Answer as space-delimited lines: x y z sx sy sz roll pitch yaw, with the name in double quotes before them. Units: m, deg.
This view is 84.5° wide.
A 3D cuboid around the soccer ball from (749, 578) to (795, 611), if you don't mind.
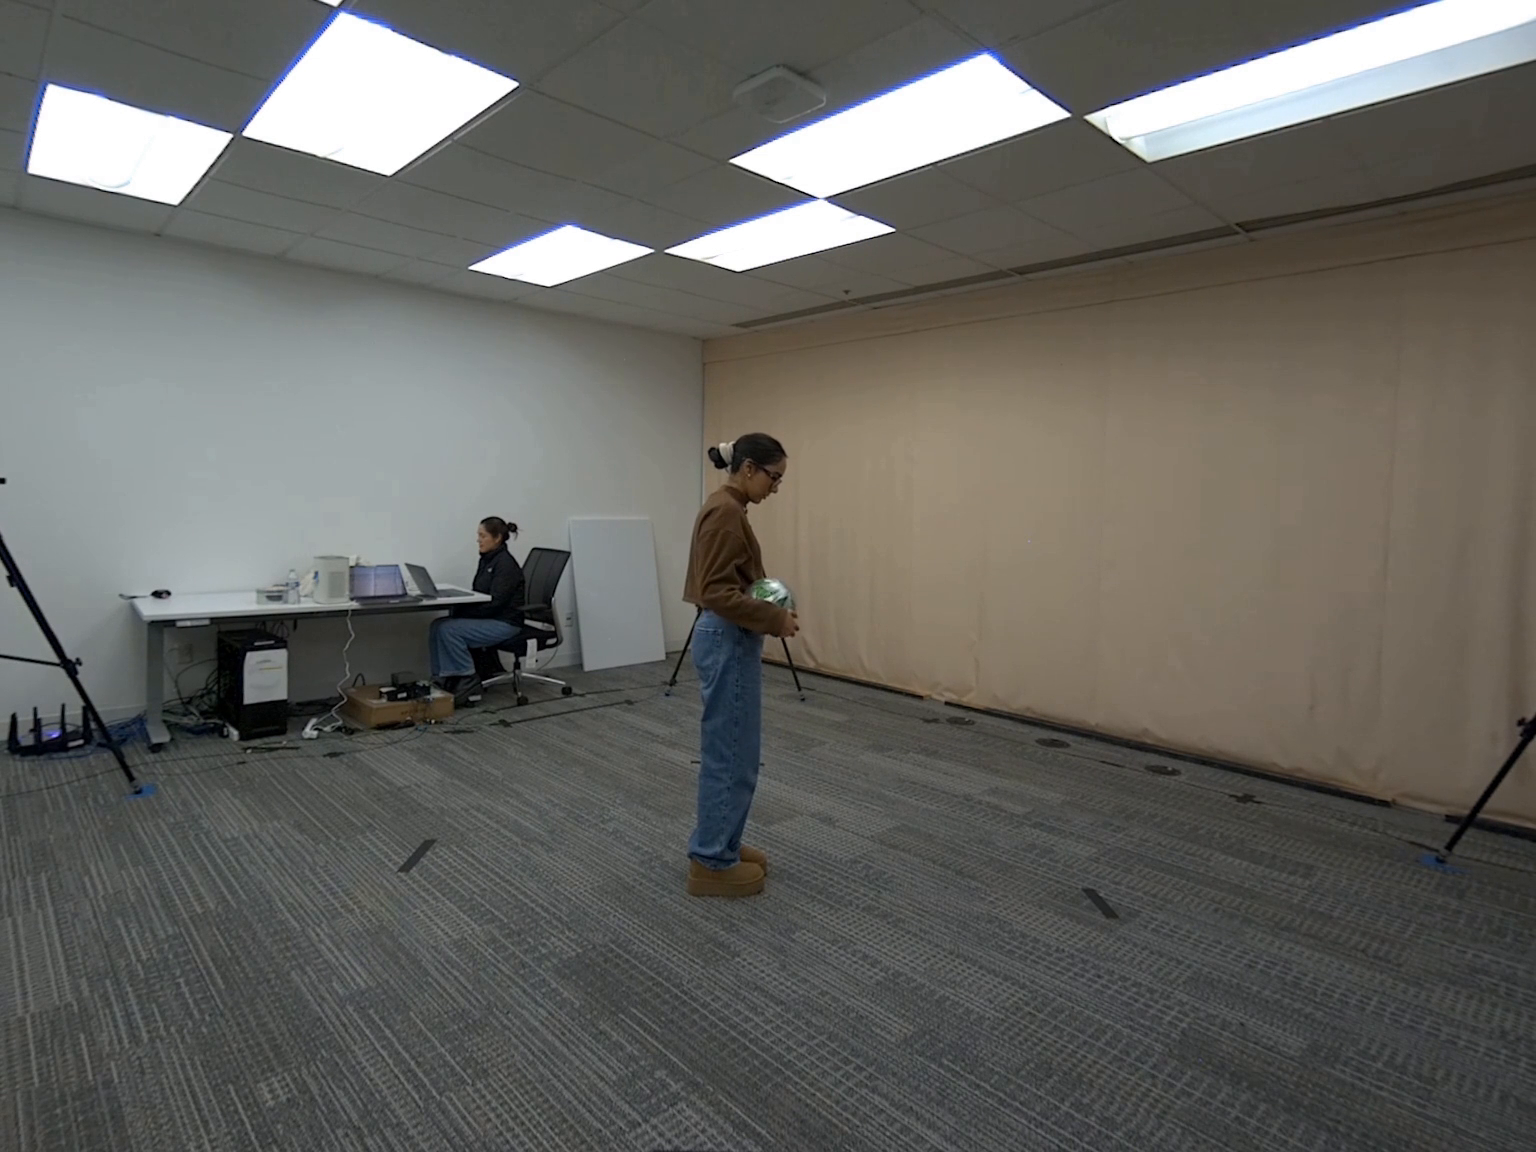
"soccer ball" -0.006 0.102 2.836 0.187 0.187 0.188 1 4 -1
